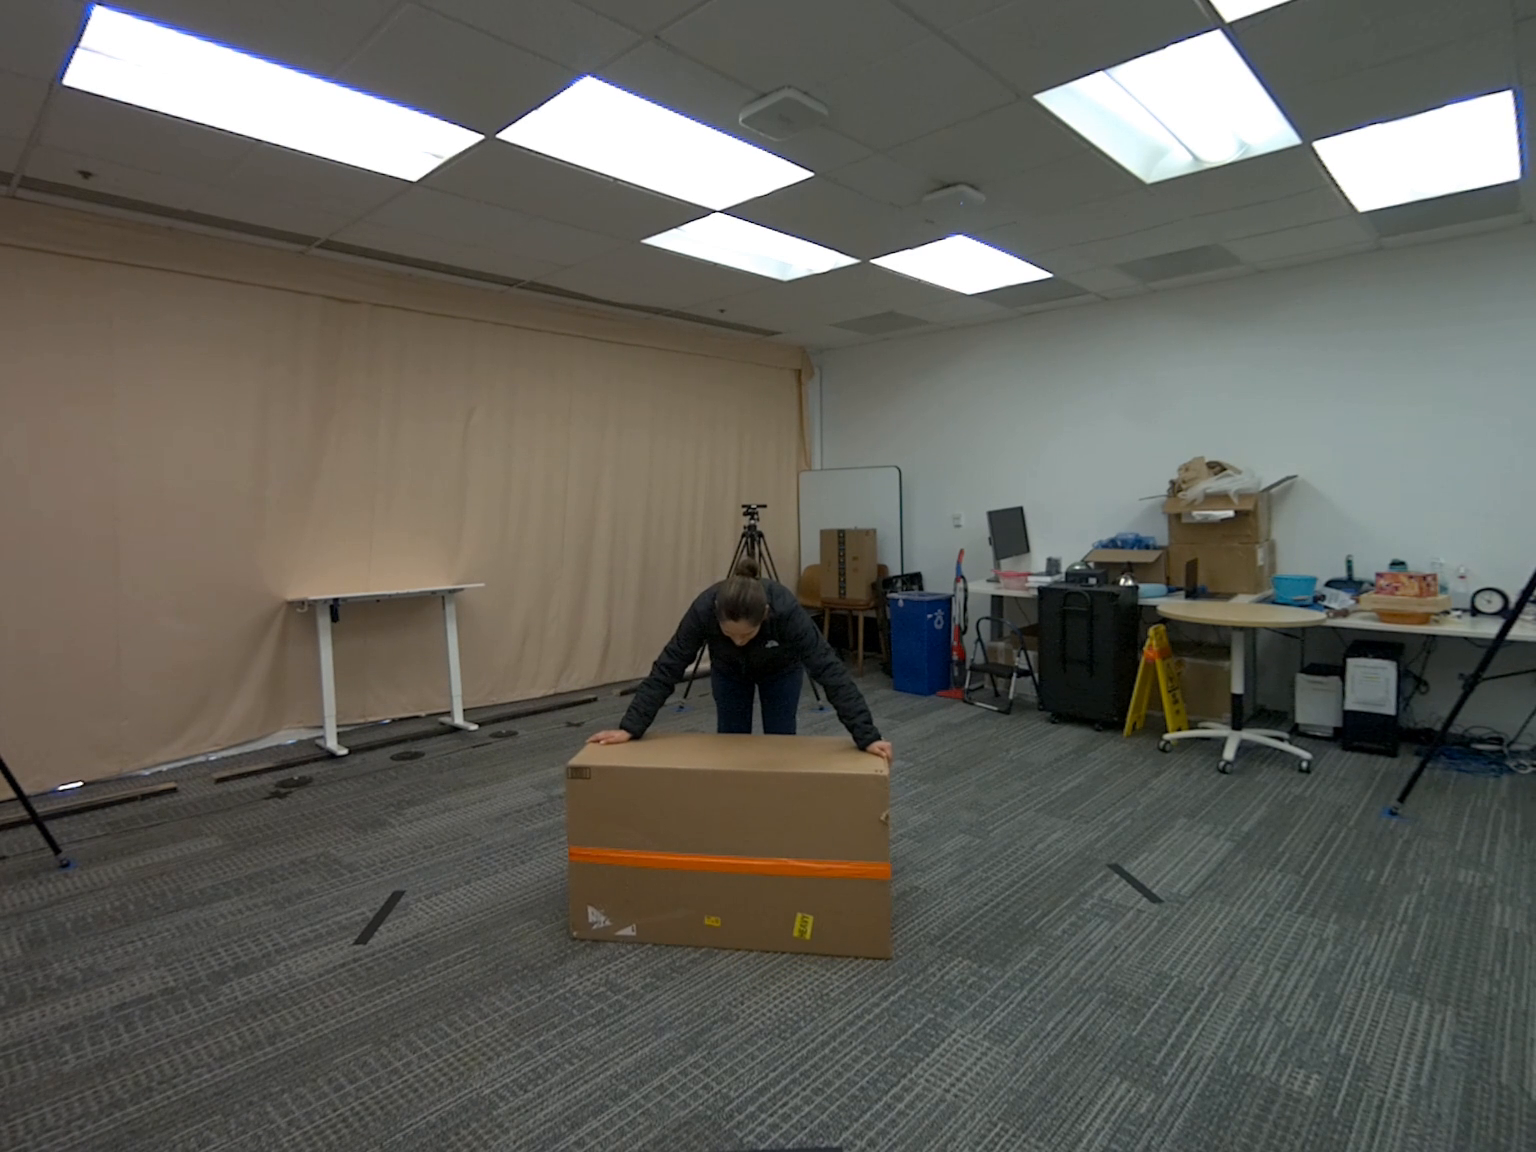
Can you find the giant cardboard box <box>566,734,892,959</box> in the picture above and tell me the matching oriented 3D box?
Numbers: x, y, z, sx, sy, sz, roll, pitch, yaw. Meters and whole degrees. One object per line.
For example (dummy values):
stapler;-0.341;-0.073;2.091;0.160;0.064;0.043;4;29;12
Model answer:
giant cardboard box;-0.097;0.870;2.825;1.037;0.583;0.443;0;2;9
